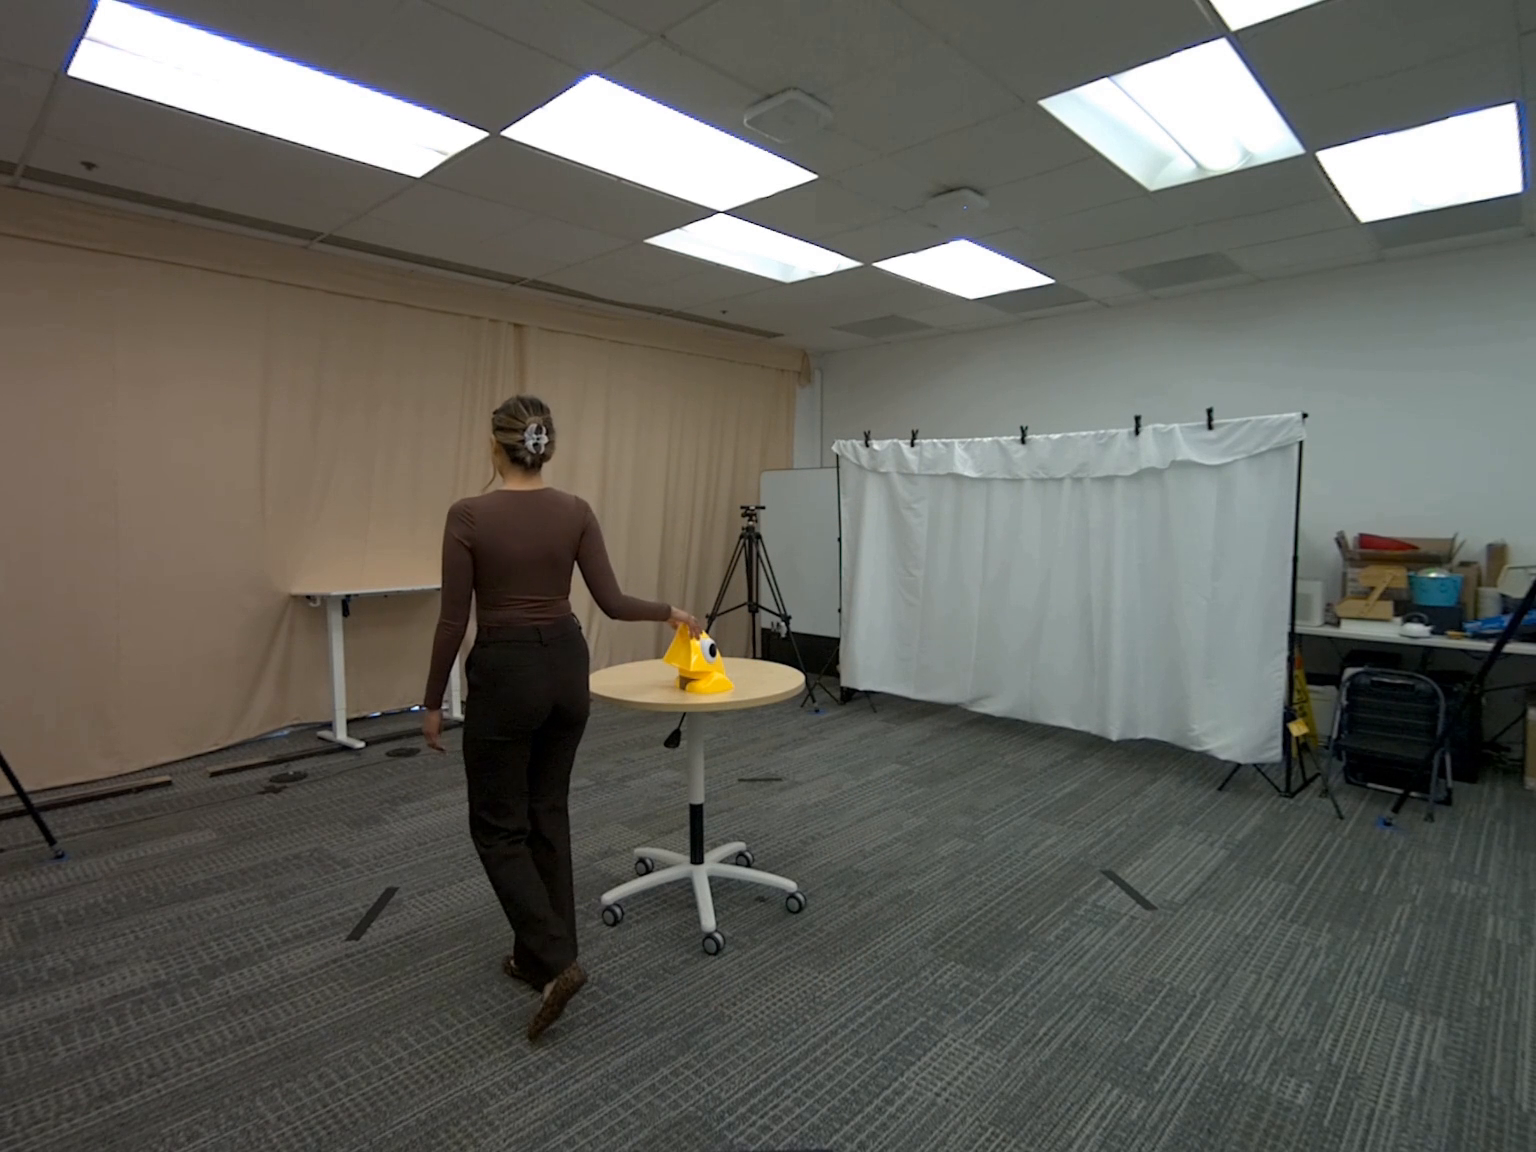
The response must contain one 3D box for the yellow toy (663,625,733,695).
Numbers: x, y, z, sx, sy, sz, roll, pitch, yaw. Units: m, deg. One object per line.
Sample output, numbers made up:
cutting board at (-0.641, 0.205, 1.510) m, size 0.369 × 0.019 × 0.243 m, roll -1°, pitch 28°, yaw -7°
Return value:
yellow toy at (-0.221, 0.253, 2.770) m, size 0.188 × 0.230 × 0.211 m, roll -2°, pitch 4°, yaw -30°
